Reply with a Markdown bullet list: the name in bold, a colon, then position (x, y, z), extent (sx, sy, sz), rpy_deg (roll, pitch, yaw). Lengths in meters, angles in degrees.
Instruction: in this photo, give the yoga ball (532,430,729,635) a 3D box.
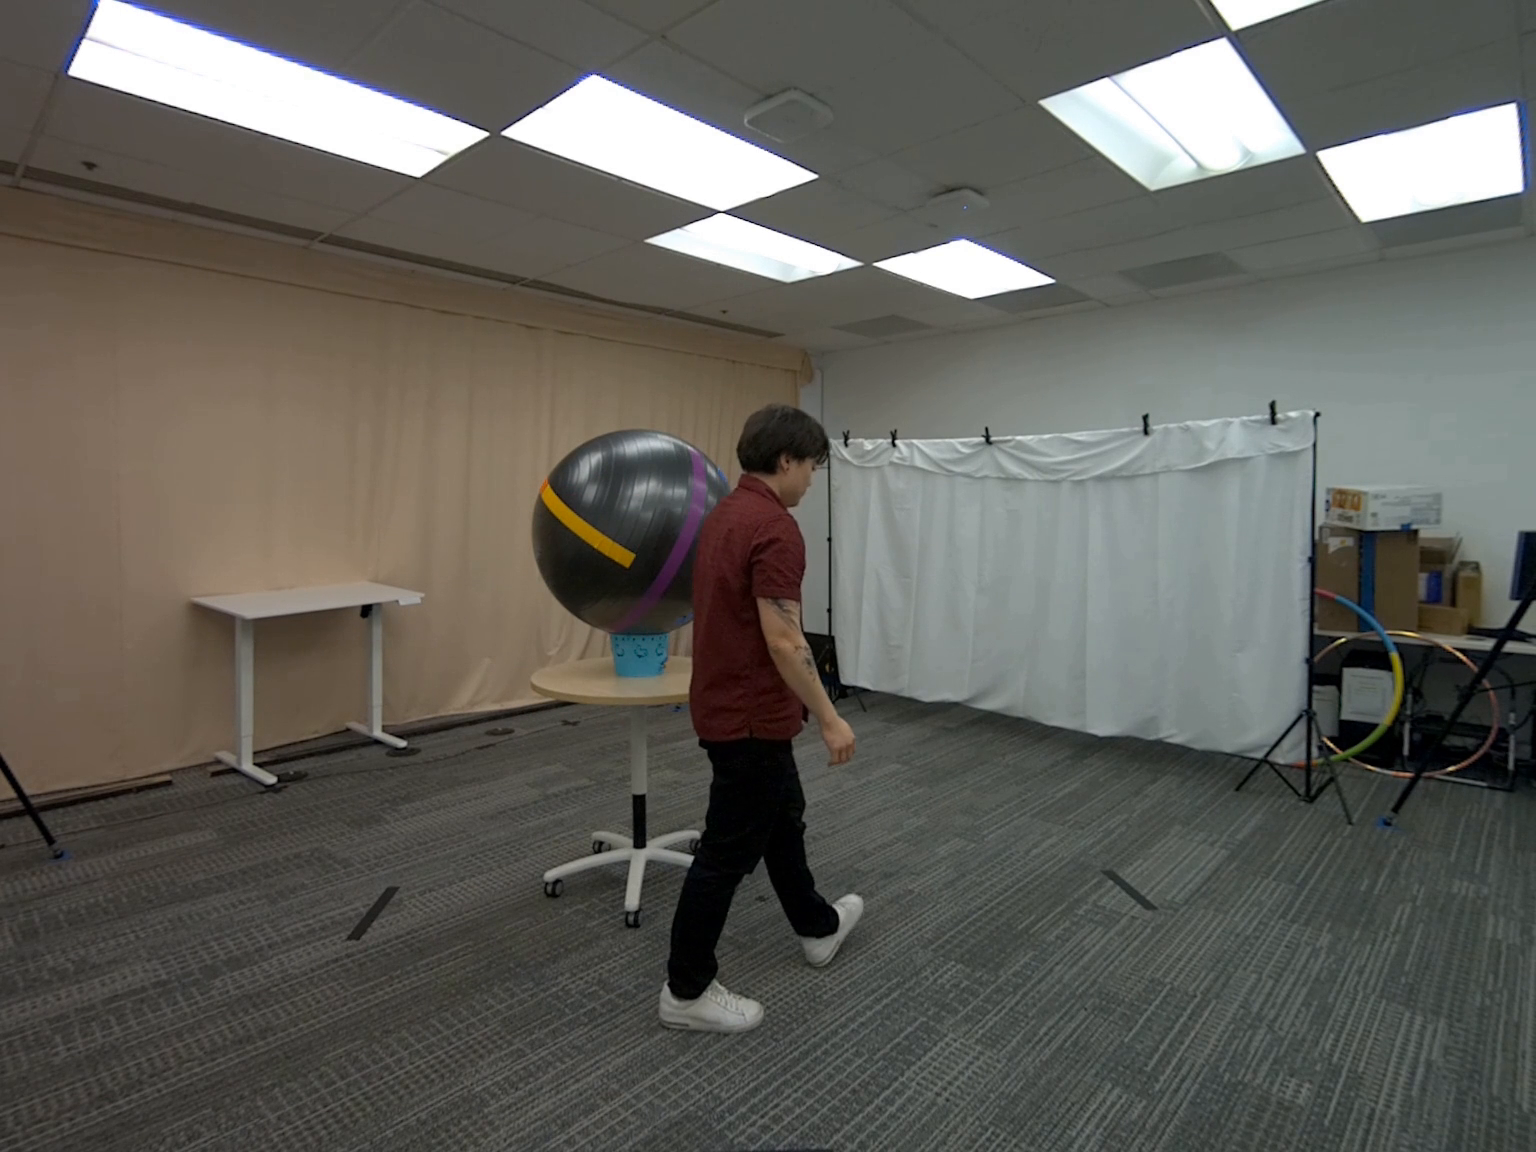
- **yoga ball**: position (-0.480, -0.151, 3.090), extent (0.757, 0.756, 0.761), rpy_deg (0, 4, -2)
